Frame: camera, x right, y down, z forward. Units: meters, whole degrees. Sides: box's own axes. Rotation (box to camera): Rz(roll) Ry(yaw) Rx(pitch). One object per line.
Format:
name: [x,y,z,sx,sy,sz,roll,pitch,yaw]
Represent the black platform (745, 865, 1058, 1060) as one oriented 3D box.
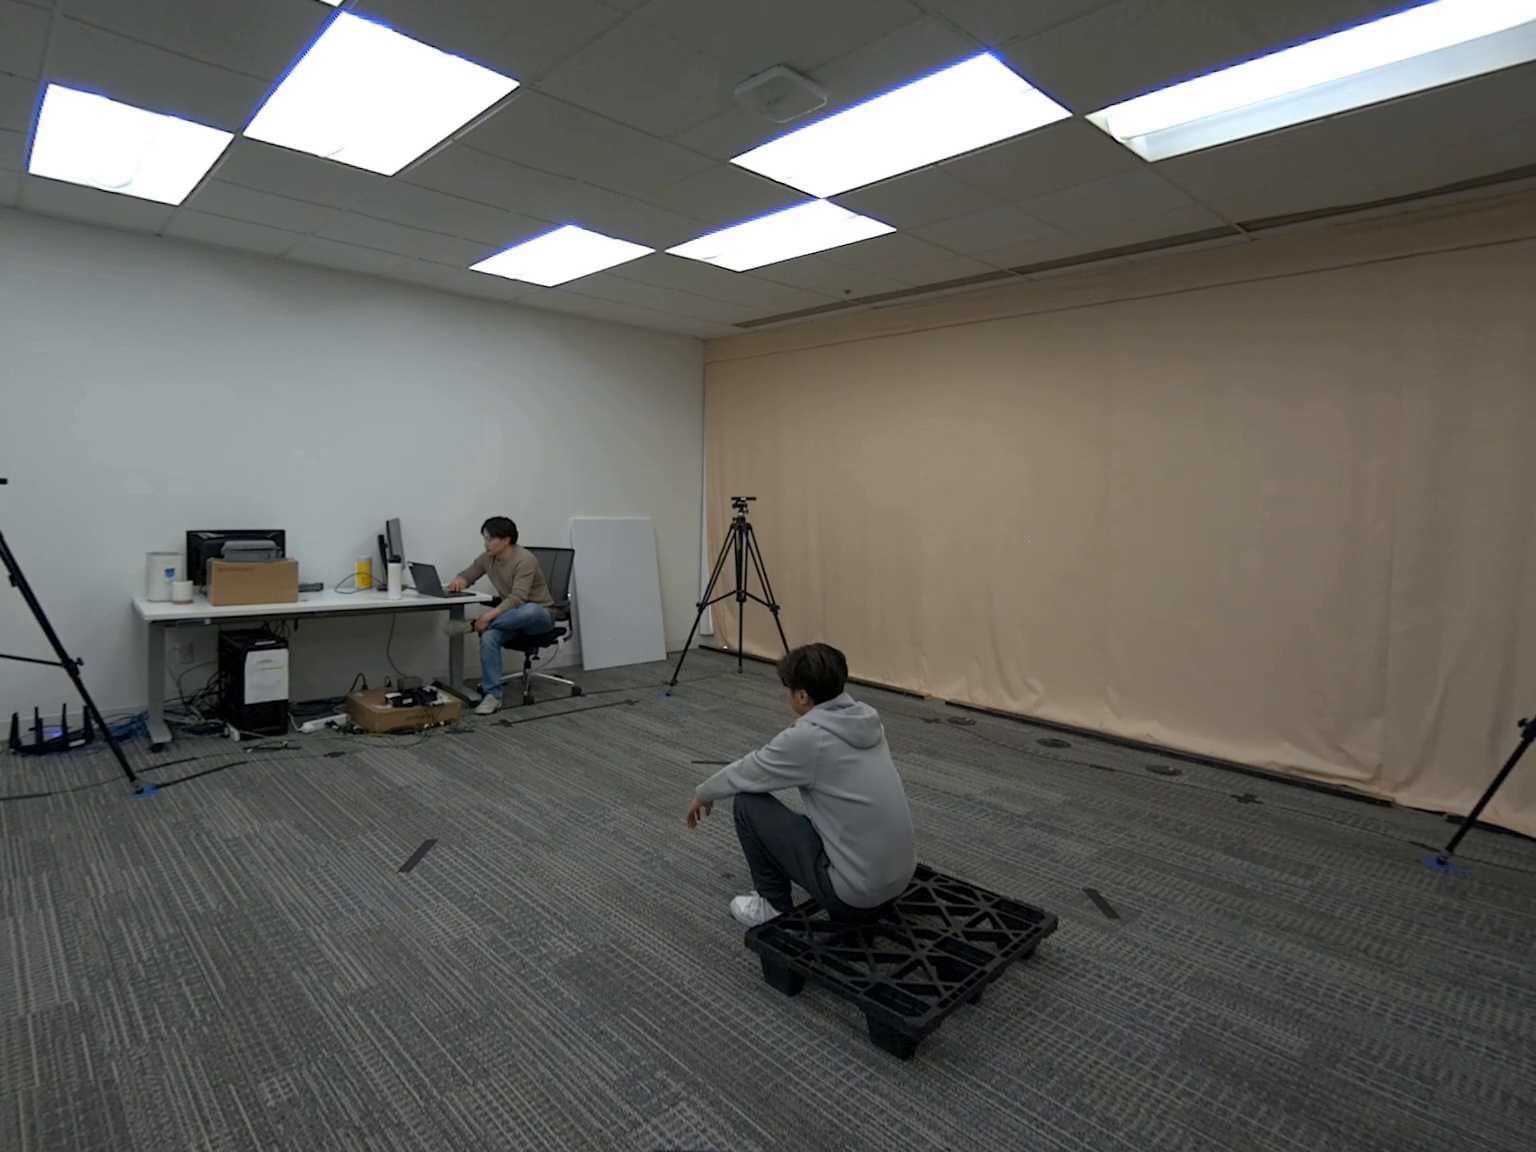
black platform: [0.398,1.106,2.519,0.621,0.143,0.787,6,7,43]
